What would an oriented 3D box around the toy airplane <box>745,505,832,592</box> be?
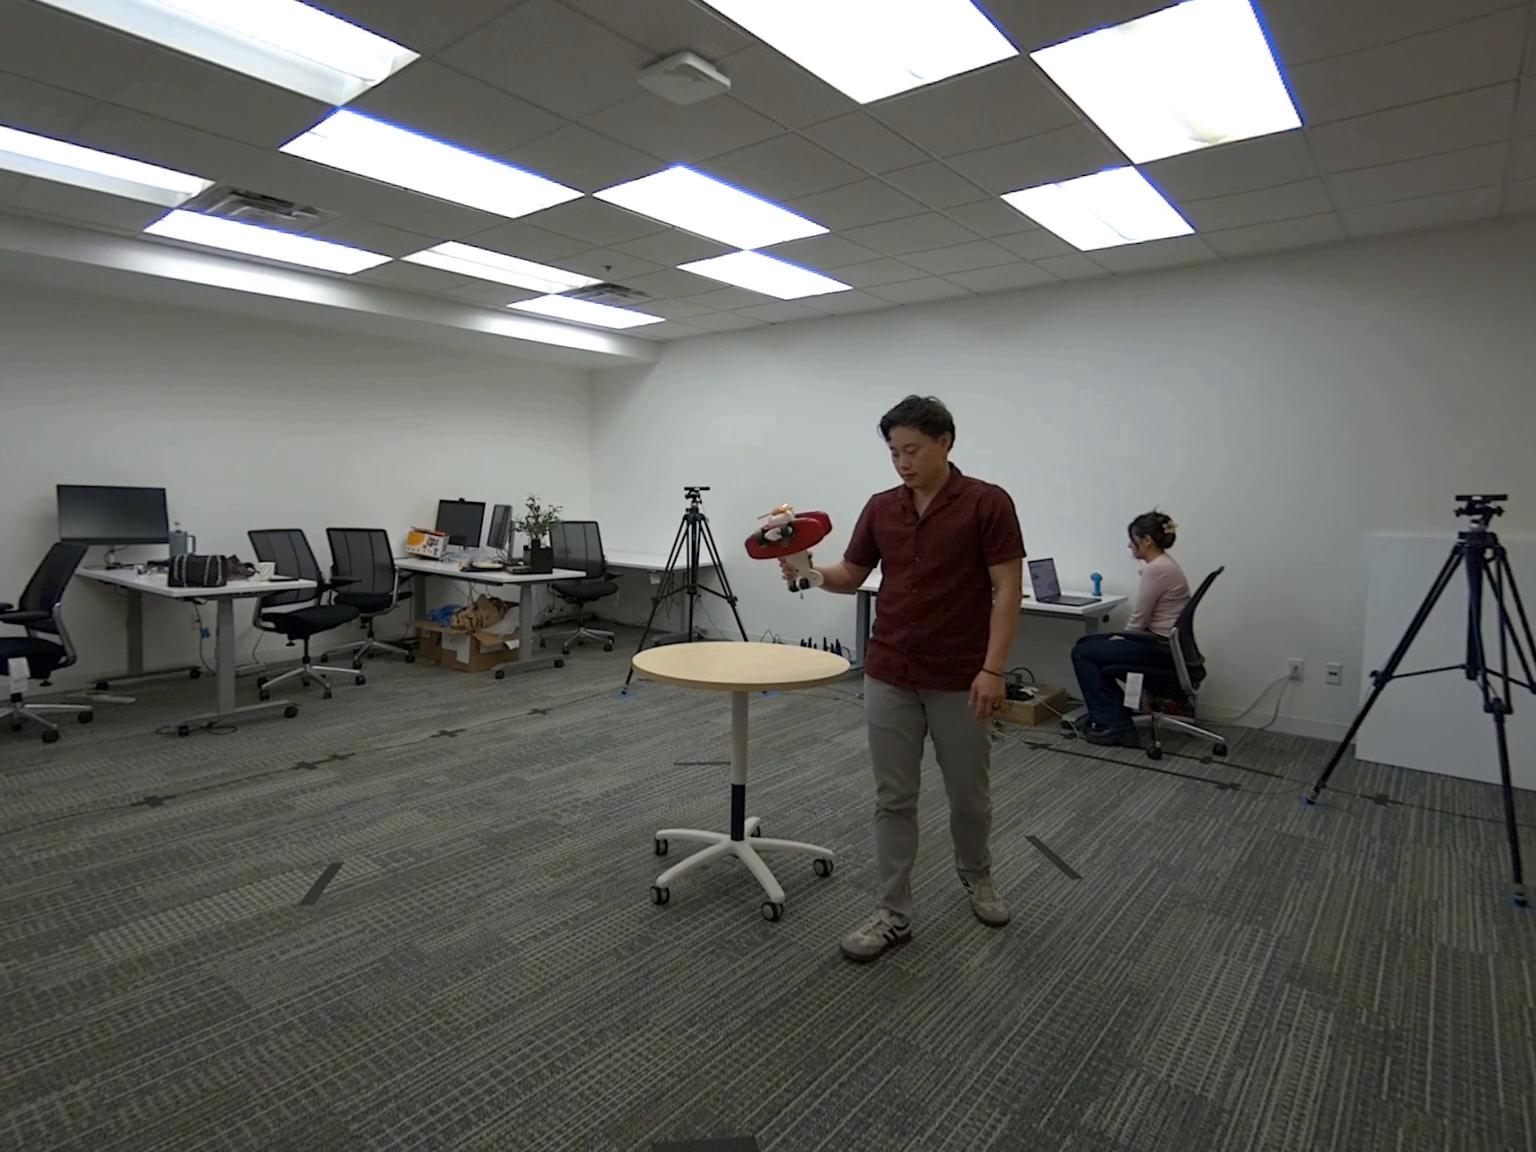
[{"bbox_3d":[0.041,-0.081,2.561,0.255,0.252,0.158,10,34,14],"label":"toy airplane"}]
